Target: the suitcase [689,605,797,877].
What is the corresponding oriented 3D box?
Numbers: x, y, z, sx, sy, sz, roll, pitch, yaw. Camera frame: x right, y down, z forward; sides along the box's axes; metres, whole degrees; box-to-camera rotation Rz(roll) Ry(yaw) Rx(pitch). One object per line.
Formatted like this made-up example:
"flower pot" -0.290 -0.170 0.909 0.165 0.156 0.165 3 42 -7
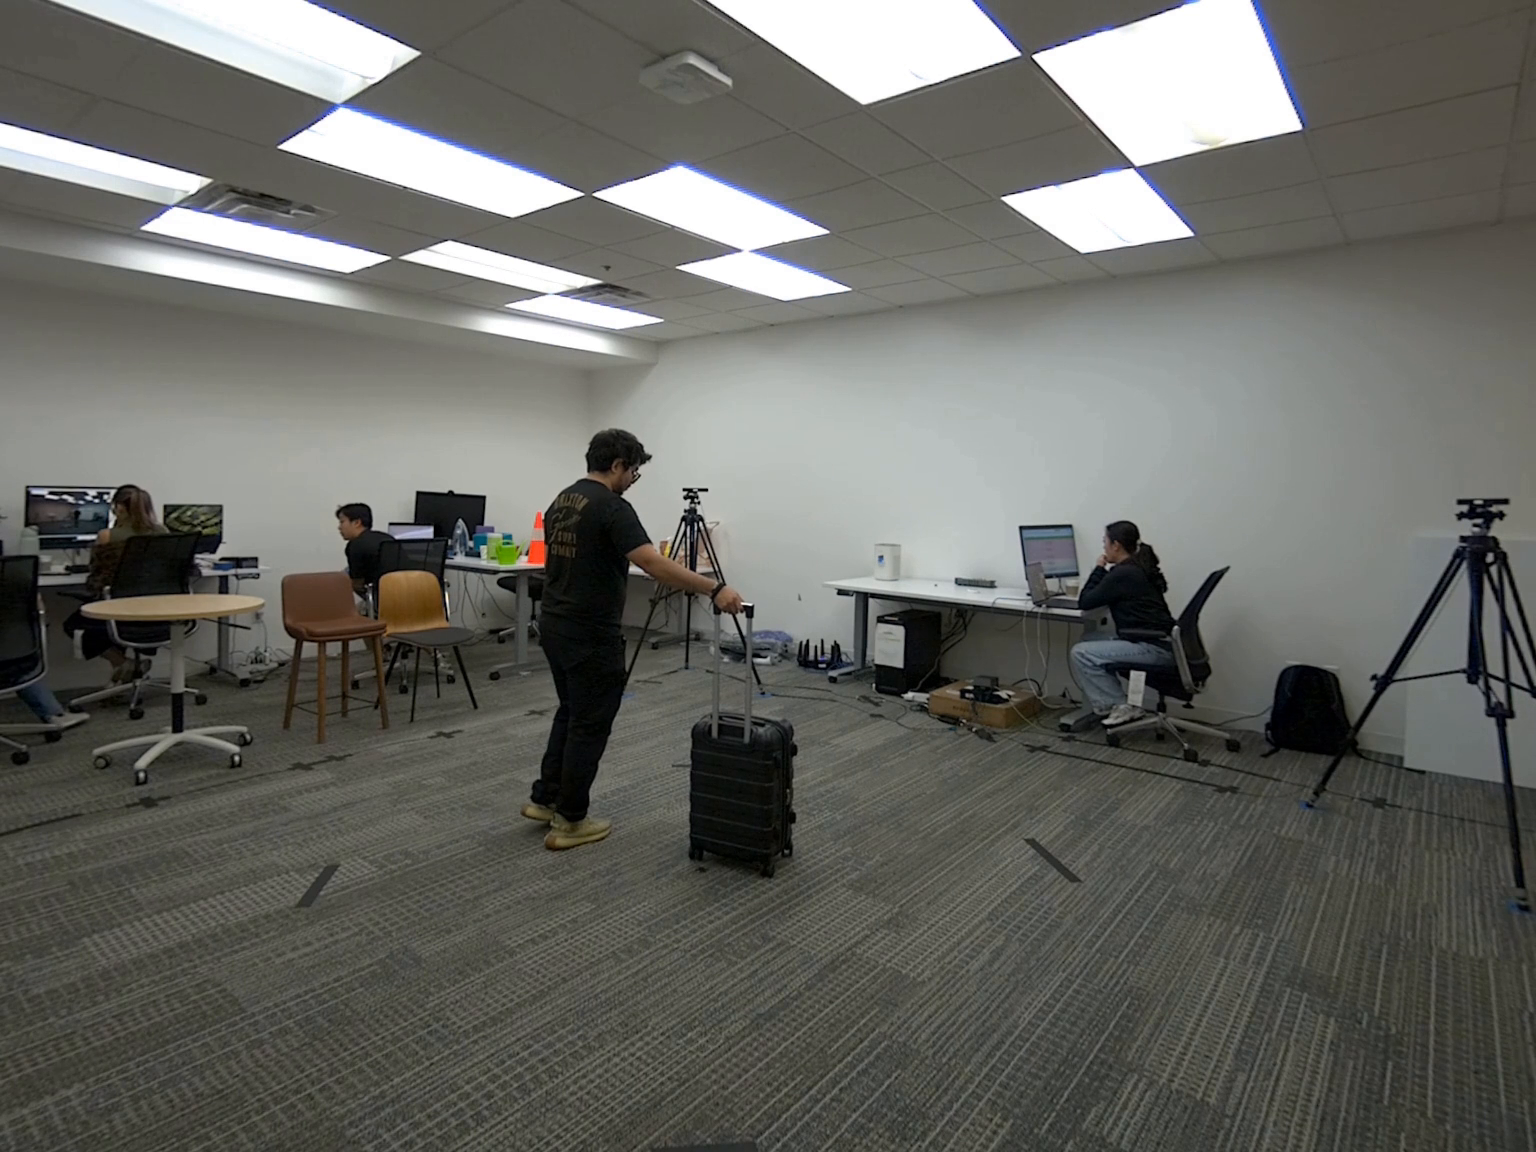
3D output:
"suitcase" -0.101 0.584 3.179 0.394 0.976 0.251 3 3 24
